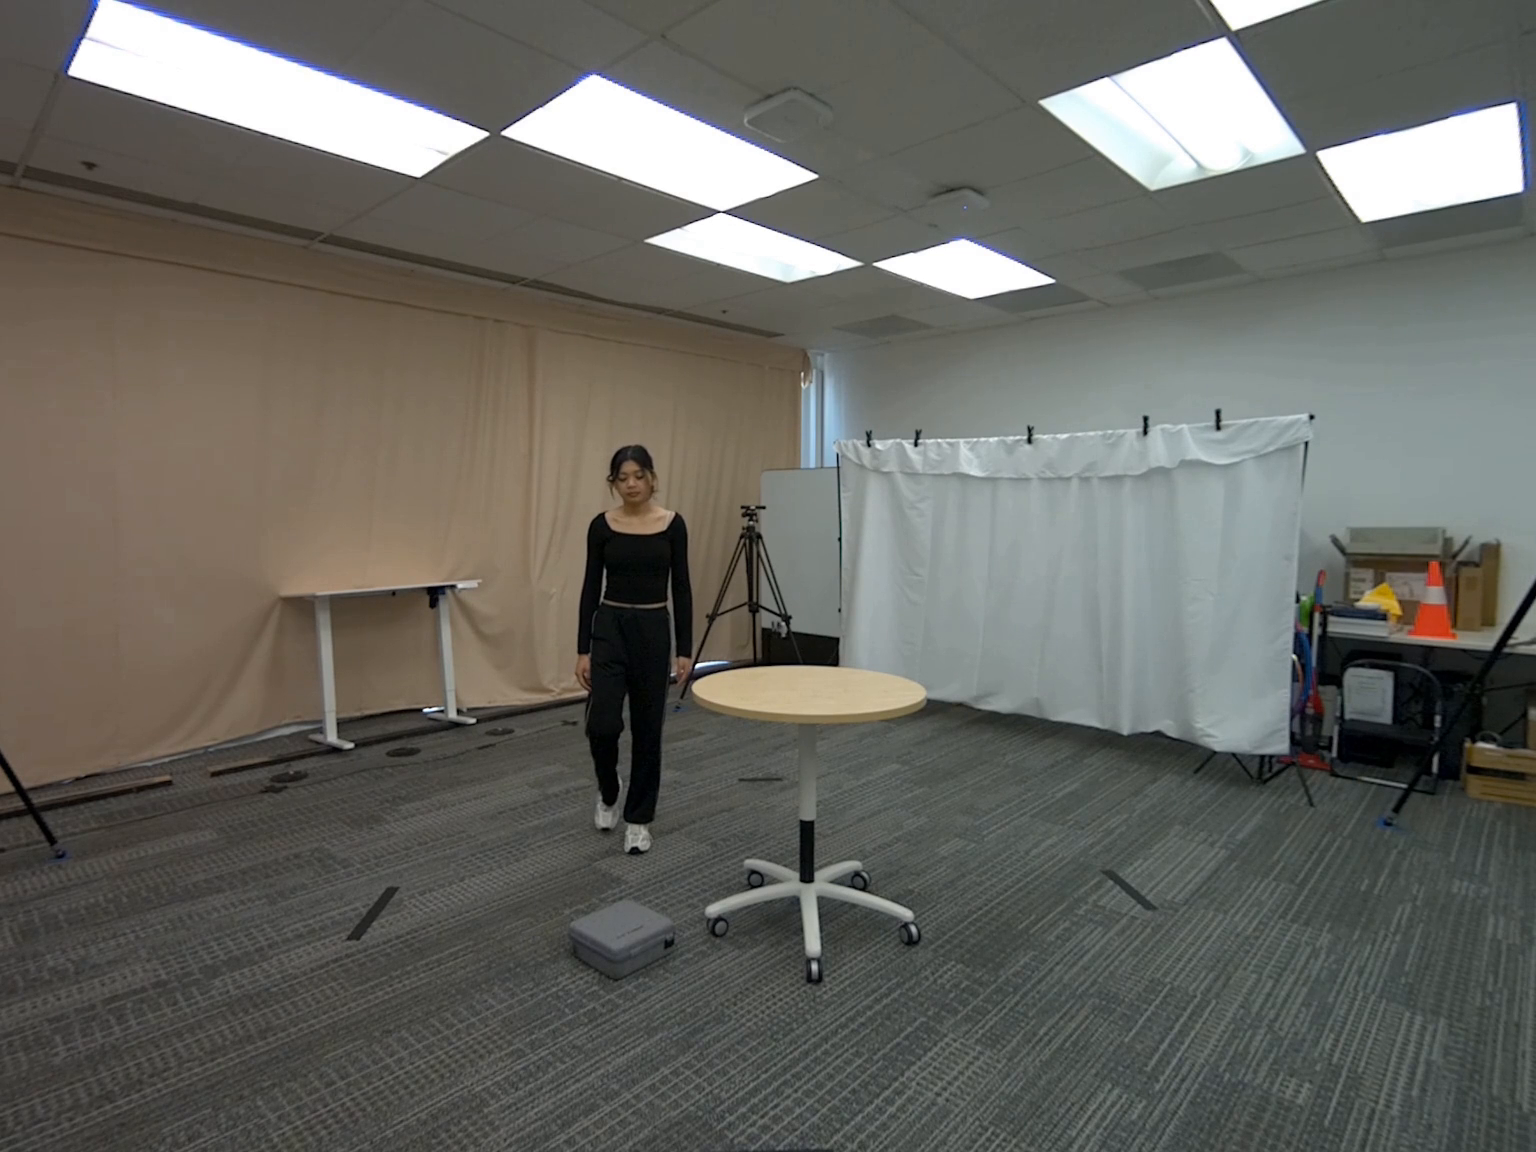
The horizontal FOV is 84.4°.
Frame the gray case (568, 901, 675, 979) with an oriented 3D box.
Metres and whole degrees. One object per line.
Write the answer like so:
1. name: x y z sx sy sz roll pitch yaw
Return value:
1. gray case: -0.455 1.120 2.621 0.269 0.104 0.249 3 6 43
